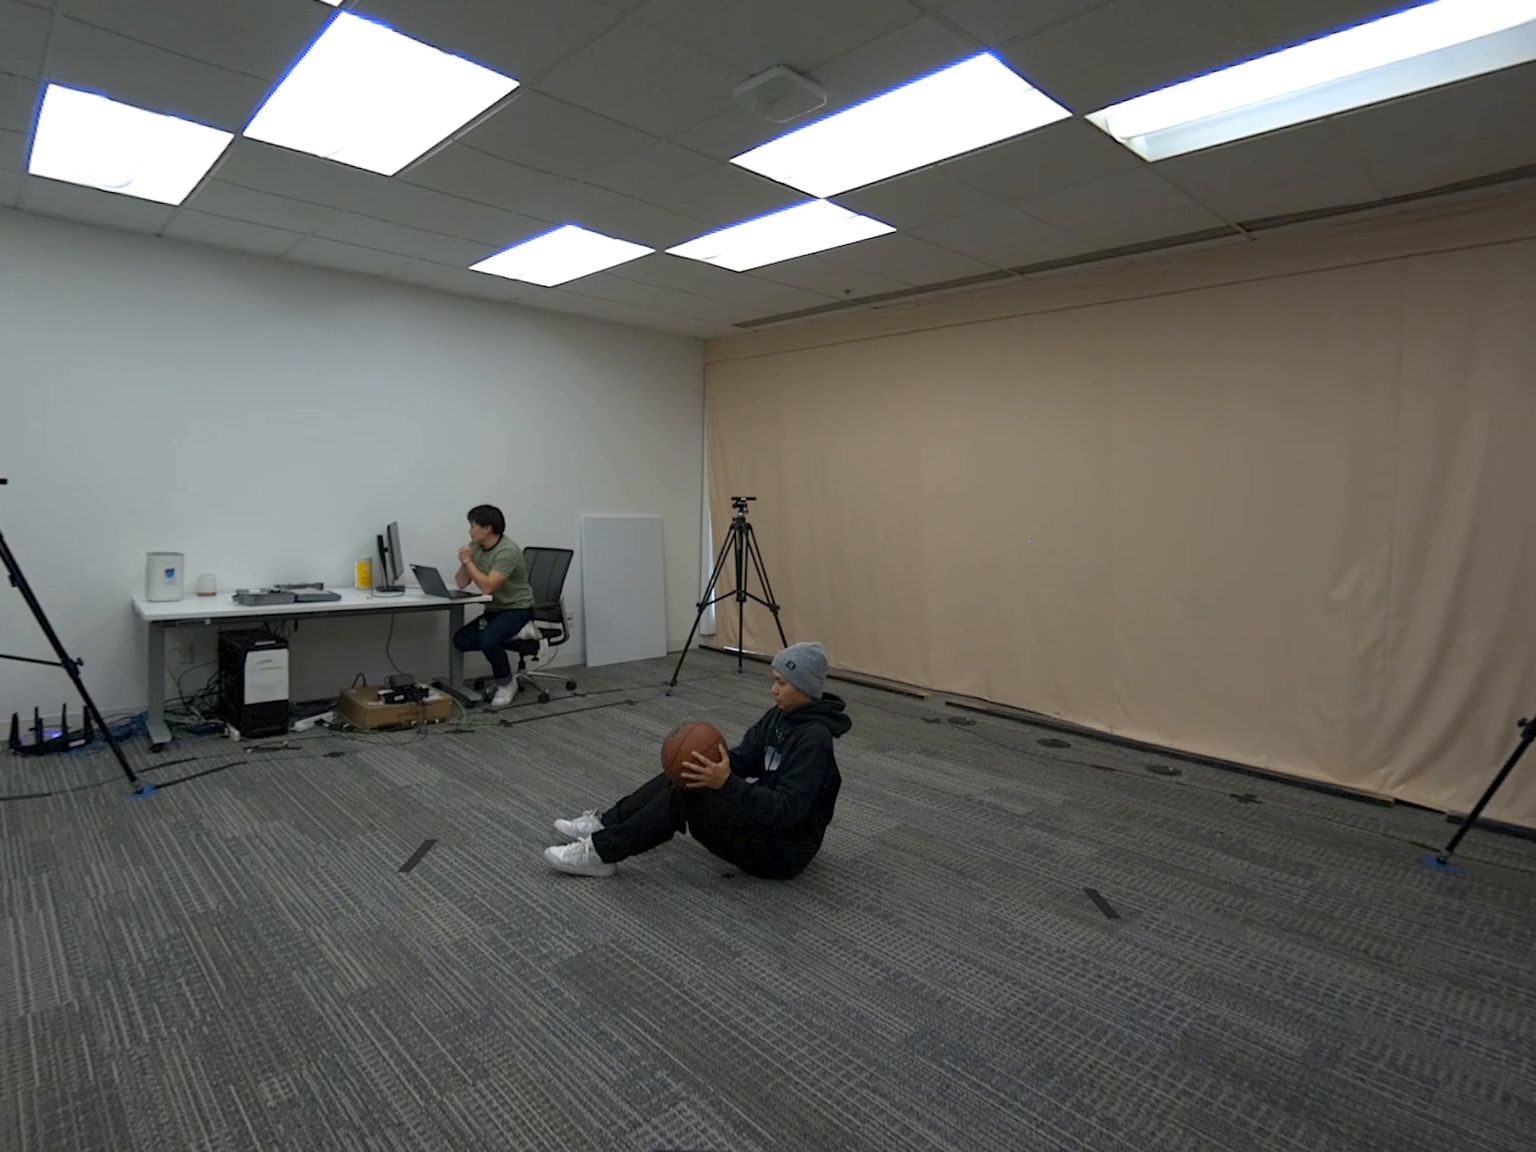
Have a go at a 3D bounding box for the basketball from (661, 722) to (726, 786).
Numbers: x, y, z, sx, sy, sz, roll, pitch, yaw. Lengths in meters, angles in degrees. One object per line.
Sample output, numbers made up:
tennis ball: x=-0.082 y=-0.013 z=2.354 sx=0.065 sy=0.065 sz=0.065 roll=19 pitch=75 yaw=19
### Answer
basketball: x=-0.259 y=0.633 z=2.961 sx=0.236 sy=0.235 sz=0.237 roll=1 pitch=4 yaw=-1
